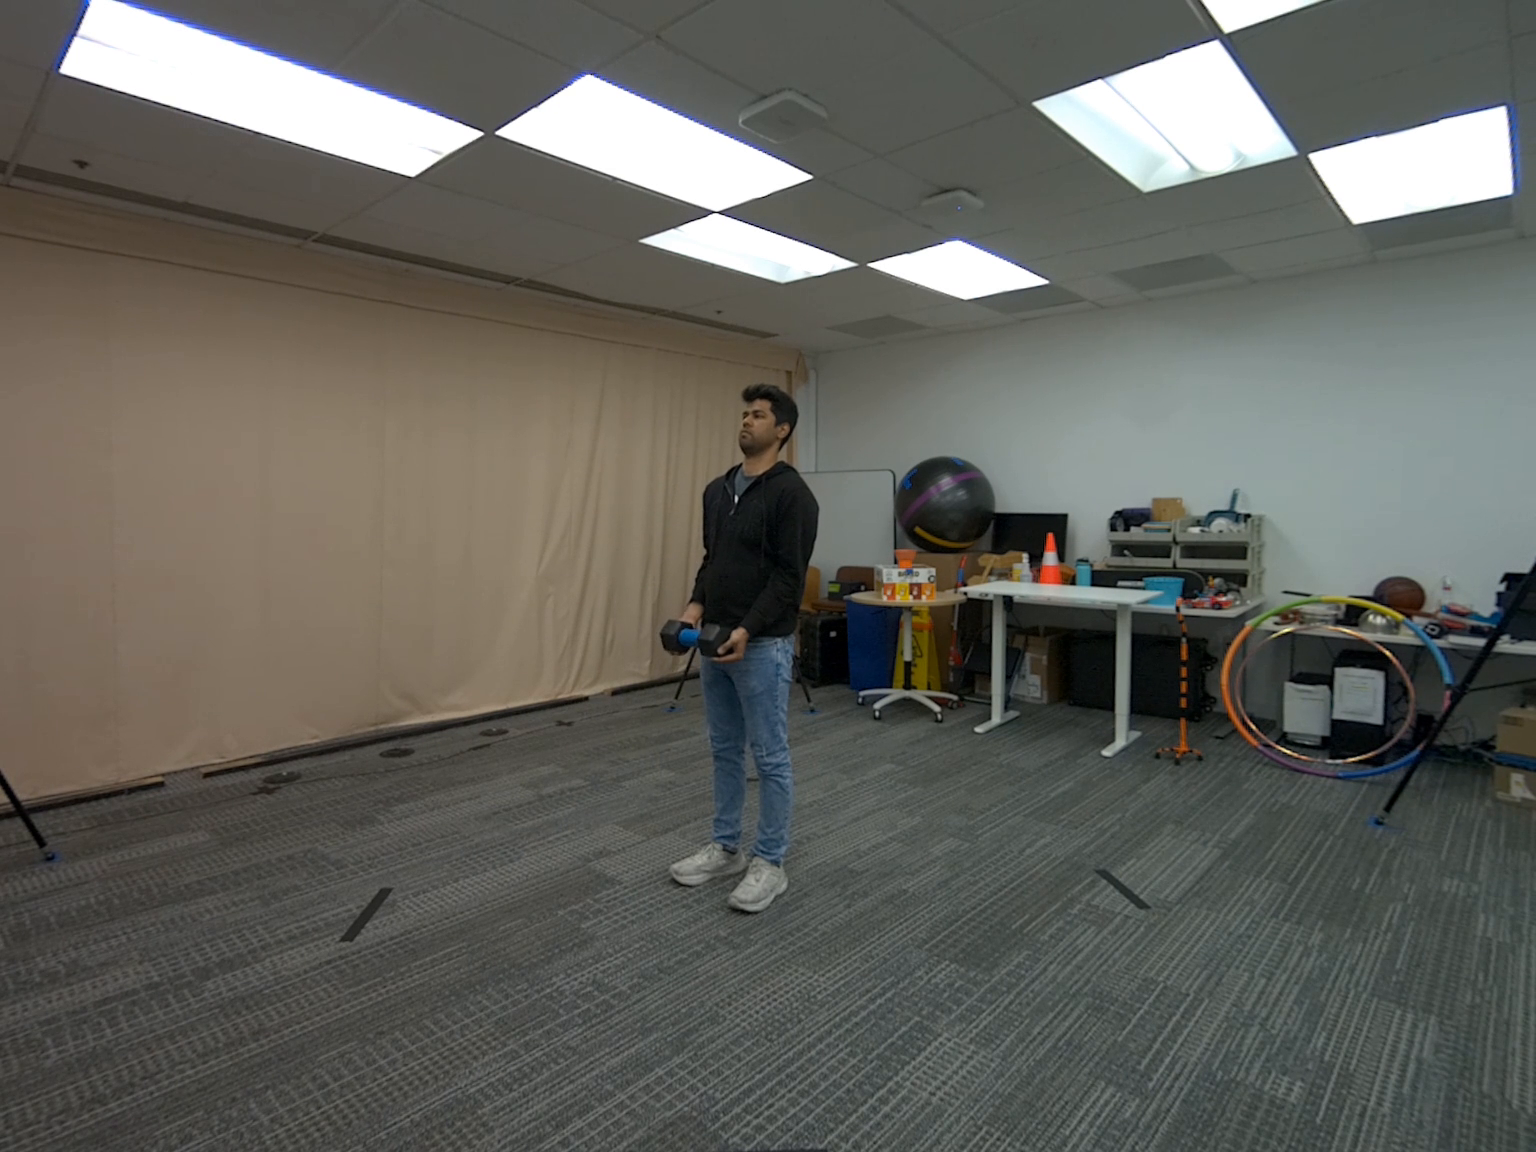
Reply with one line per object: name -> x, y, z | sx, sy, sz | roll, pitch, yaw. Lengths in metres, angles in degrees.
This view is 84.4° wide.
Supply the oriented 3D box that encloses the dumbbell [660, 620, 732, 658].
dumbbell -> -0.245, 0.196, 2.890 | 0.106, 0.121, 0.303 | -24, 17, -39
